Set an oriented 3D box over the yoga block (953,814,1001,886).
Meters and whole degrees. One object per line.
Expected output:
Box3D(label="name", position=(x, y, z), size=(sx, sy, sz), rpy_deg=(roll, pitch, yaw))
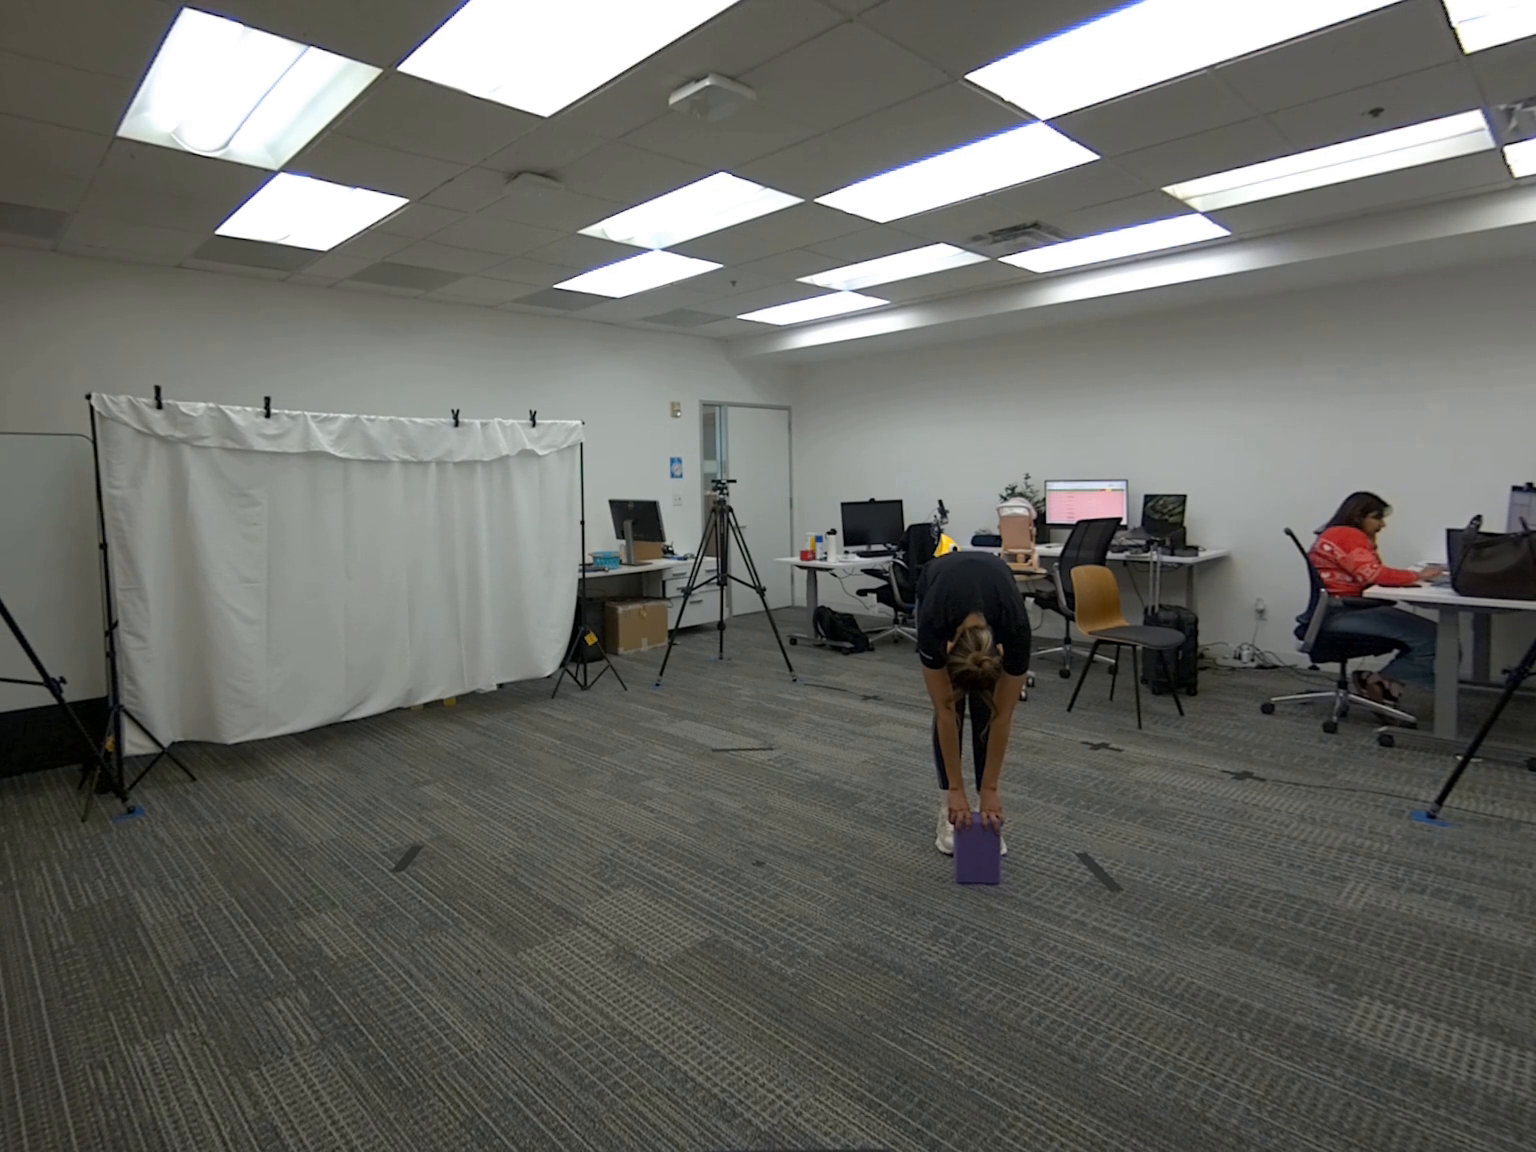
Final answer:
Box3D(label="yoga block", position=(0.723, 0.945, 2.943), size=(0.150, 0.229, 0.076), rpy_deg=(-2, 3, 4))
